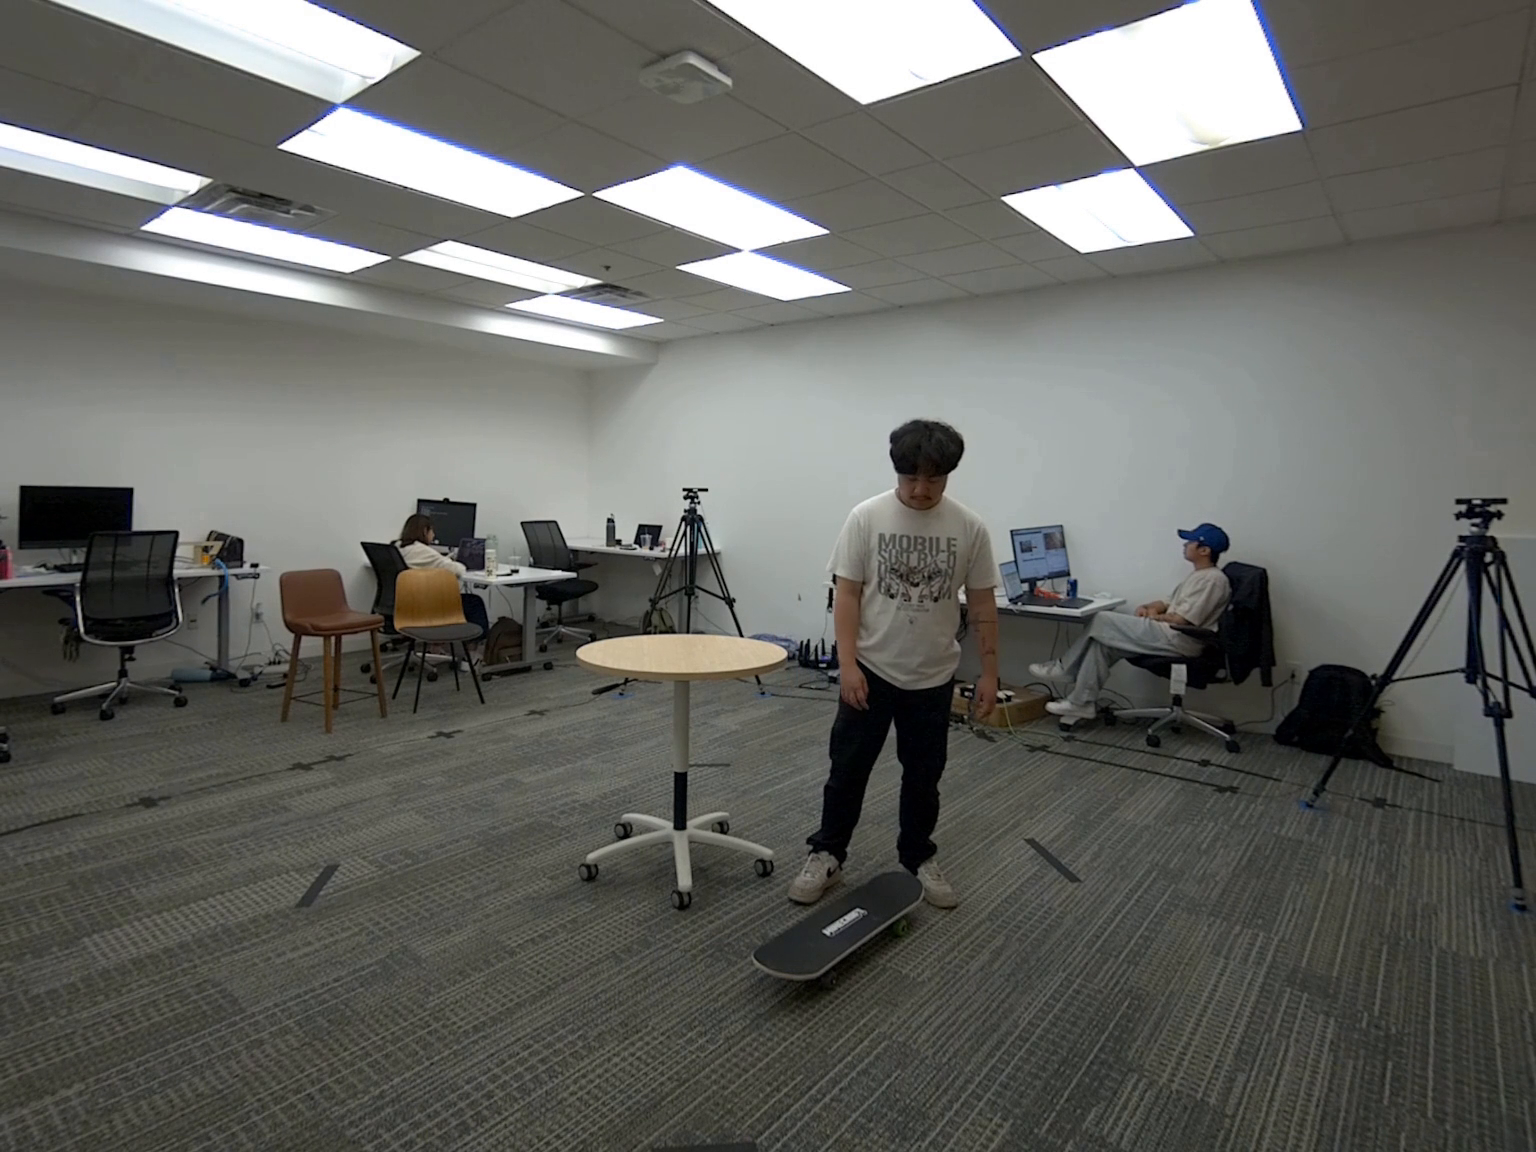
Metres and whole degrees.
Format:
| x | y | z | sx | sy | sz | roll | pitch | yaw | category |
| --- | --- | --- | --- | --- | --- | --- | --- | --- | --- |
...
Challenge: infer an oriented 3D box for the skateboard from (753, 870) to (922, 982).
| x | y | z | sx | sy | sz | roll | pitch | yaw | category |
| --- | --- | --- | --- | --- | --- | --- | --- | --- | --- |
| 0.238 | 1.081 | 2.577 | 0.200 | 0.110 | 0.762 | 6 | 8 | 39 | skateboard |
